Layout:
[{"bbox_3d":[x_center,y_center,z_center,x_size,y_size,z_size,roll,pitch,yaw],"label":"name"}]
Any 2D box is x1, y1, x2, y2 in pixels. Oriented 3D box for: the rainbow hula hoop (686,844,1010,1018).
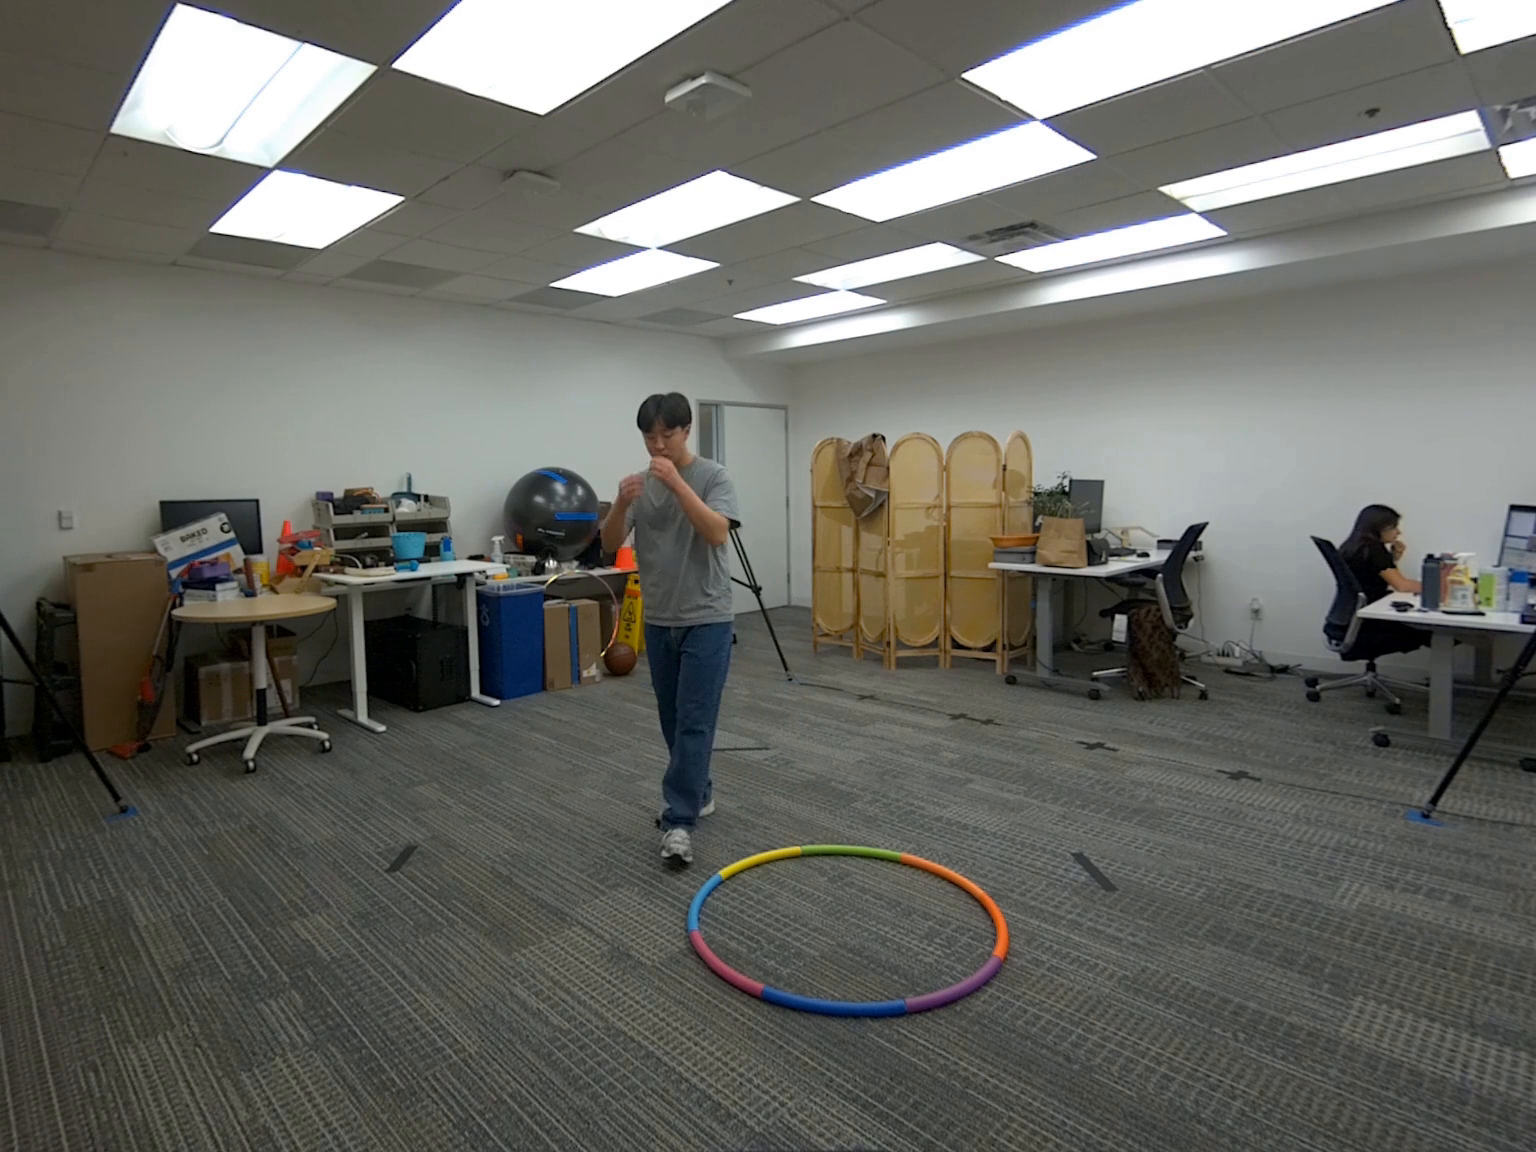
[{"bbox_3d":[0.234,1.060,2.694,0.978,0.035,0.984,-2,7,-2],"label":"rainbow hula hoop"}]
